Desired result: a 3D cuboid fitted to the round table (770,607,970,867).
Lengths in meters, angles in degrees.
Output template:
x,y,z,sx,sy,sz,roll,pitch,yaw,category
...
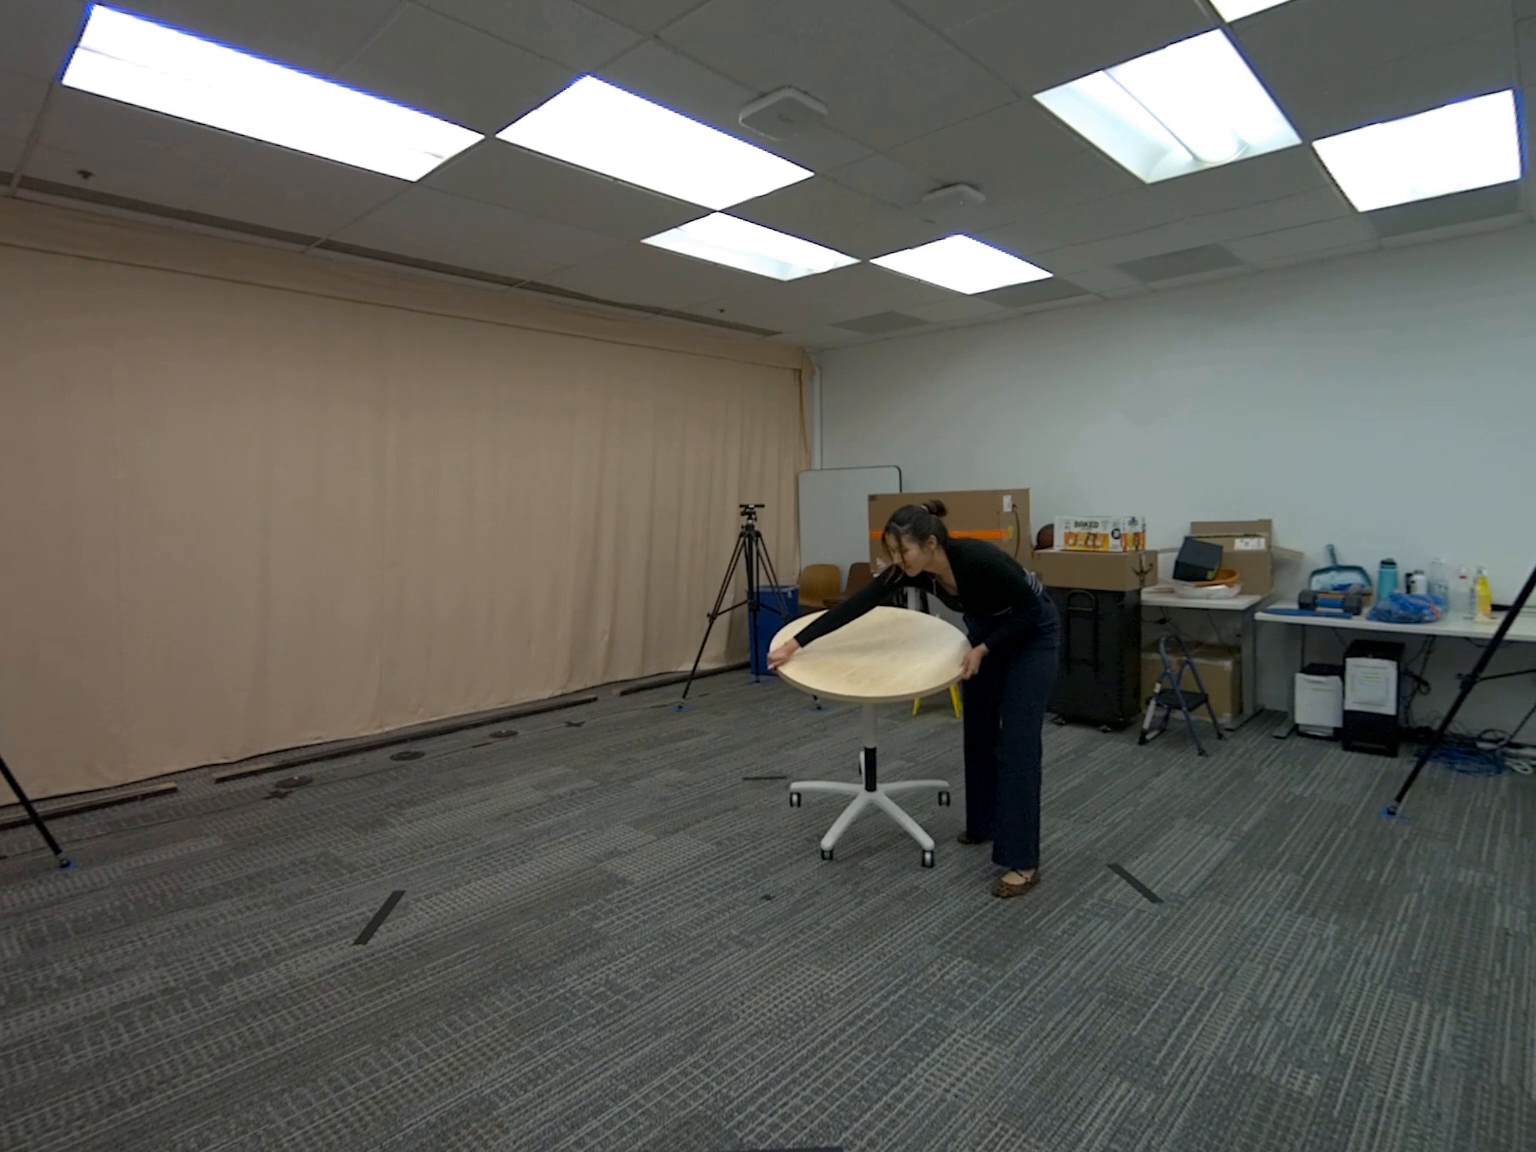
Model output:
x,y,z,sx,sy,sz,roll,pitch,yaw,category
0.410,0.642,3.395,0.764,0.784,0.774,-4,20,-1,round table
